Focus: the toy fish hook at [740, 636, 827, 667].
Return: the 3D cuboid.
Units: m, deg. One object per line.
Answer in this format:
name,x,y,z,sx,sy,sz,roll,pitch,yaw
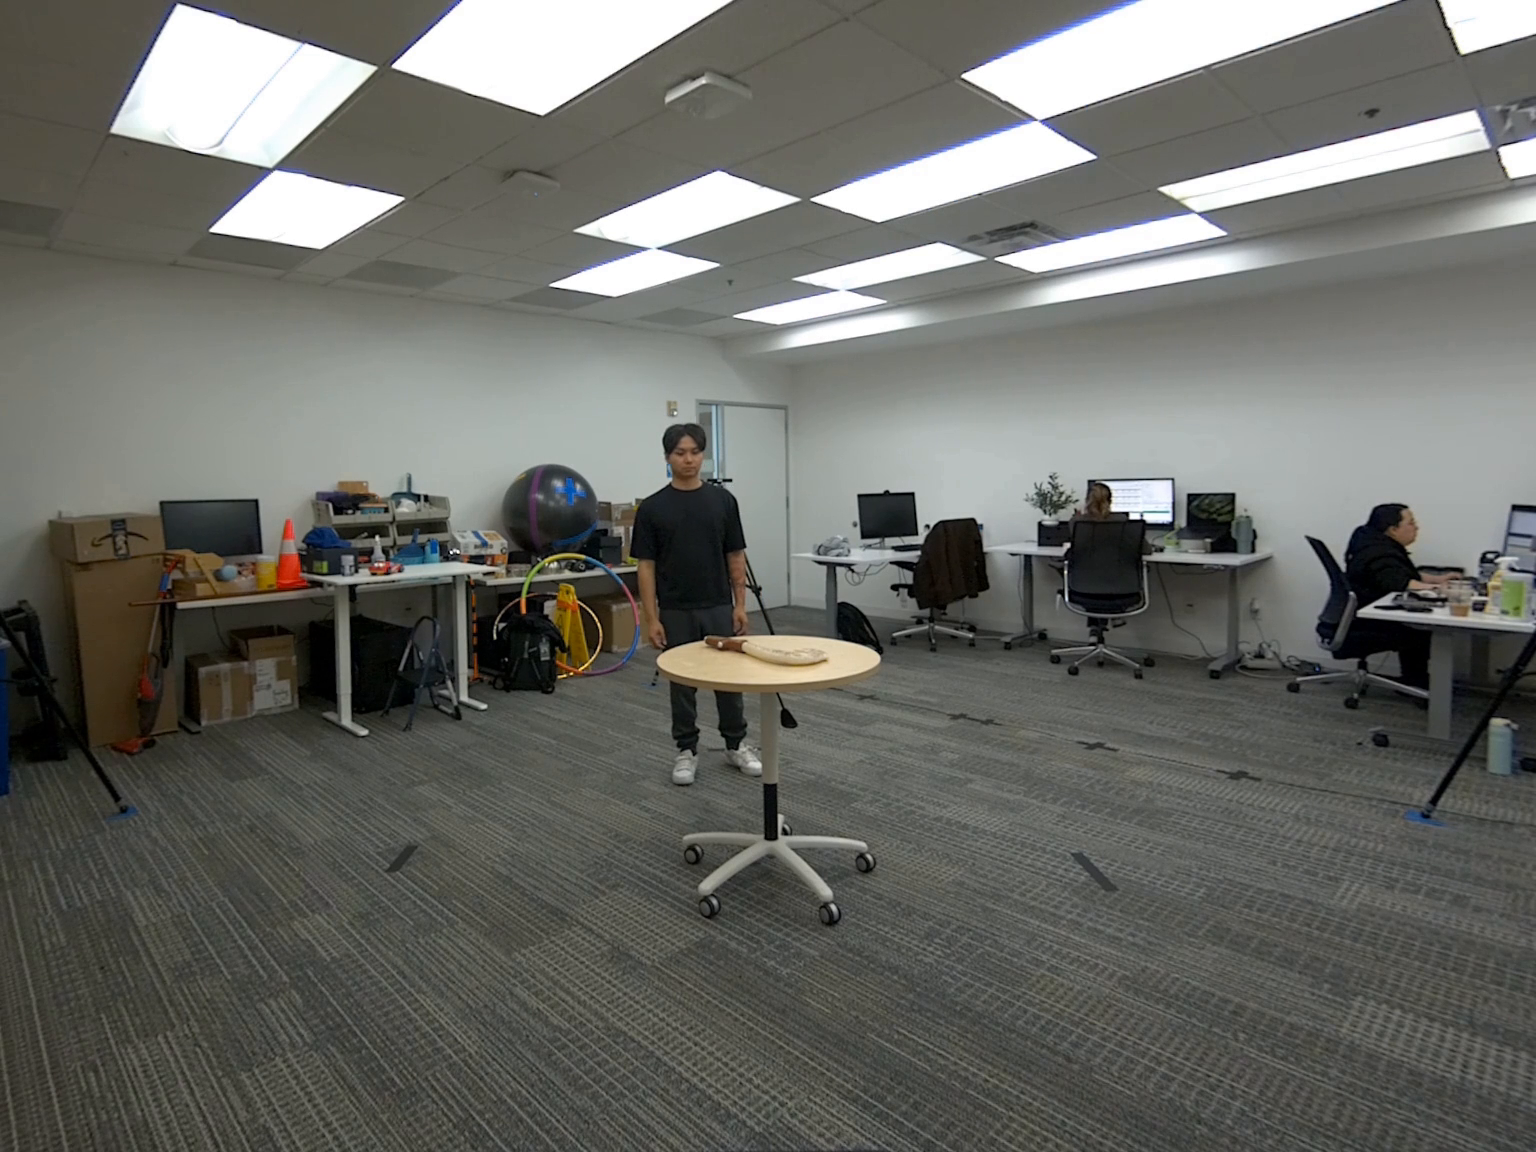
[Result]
toy fish hook,-0.011,0.262,3.003,0.218,0.048,0.523,1,4,-44
